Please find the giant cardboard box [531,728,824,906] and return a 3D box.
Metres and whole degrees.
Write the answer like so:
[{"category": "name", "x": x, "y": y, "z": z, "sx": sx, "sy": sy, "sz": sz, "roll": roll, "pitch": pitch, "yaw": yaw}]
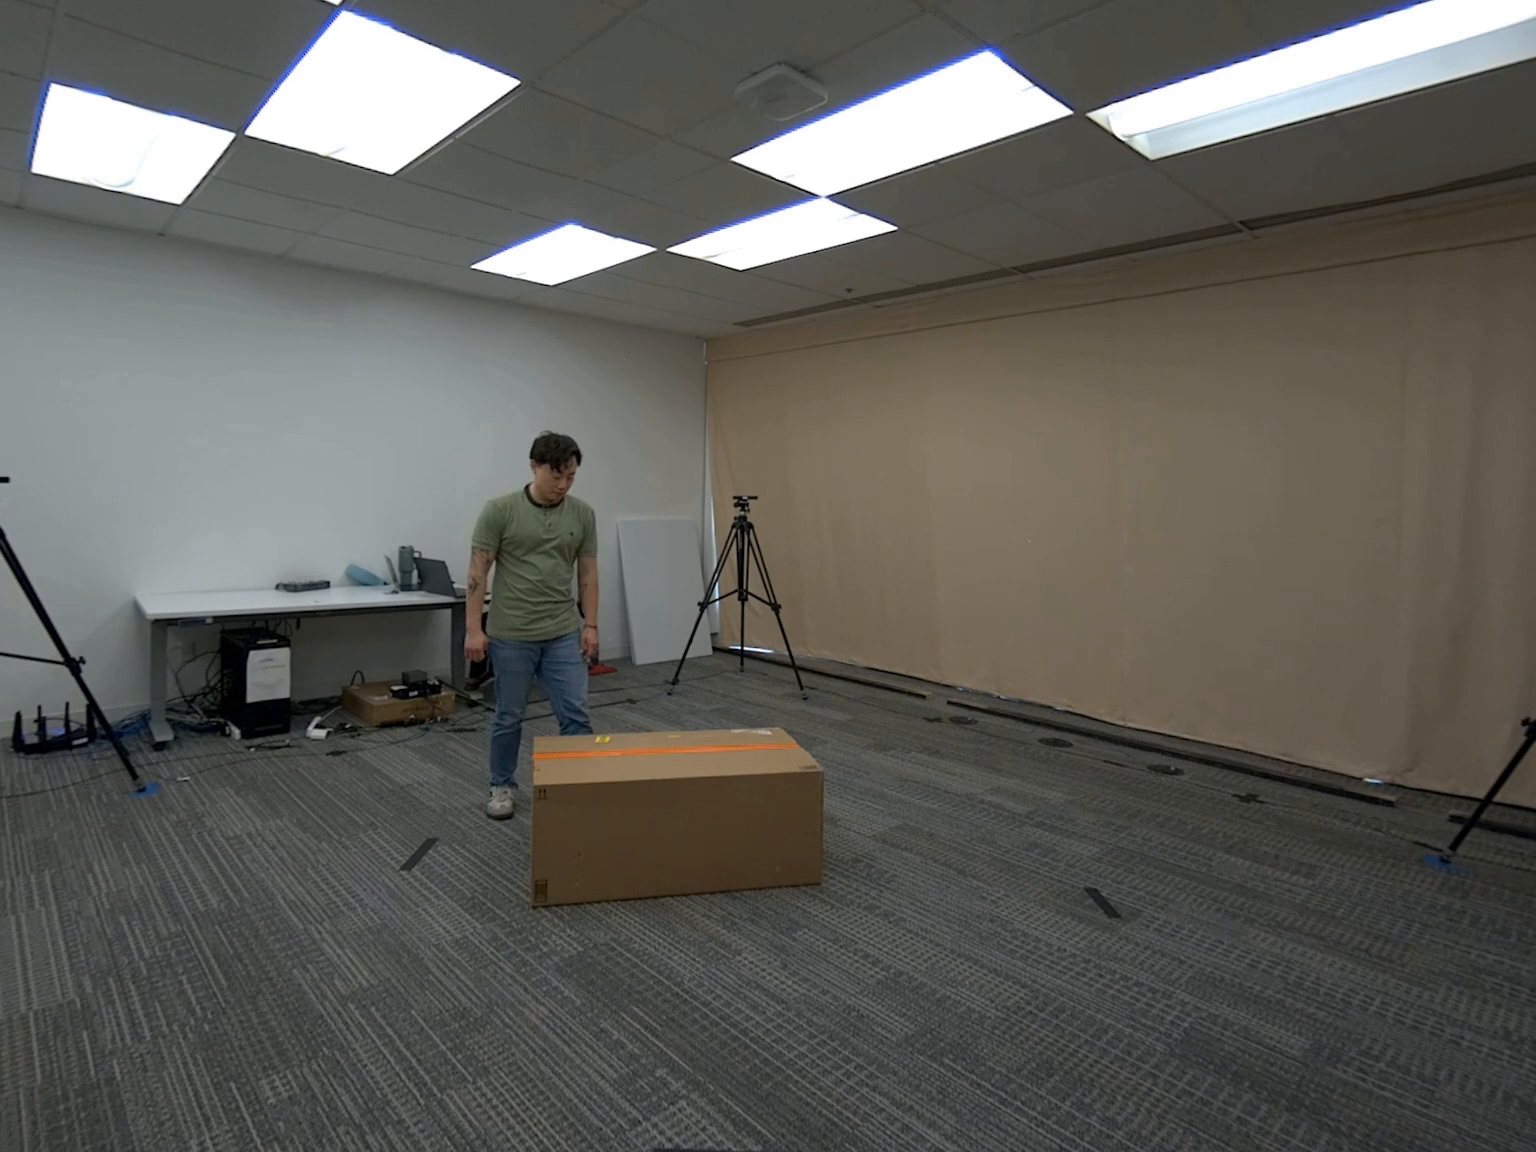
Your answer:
[{"category": "giant cardboard box", "x": -0.373, "y": 0.870, "z": 3.189, "sx": 1.015, "sy": 0.425, "sz": 0.585, "roll": 0, "pitch": 4, "yaw": -14}]
